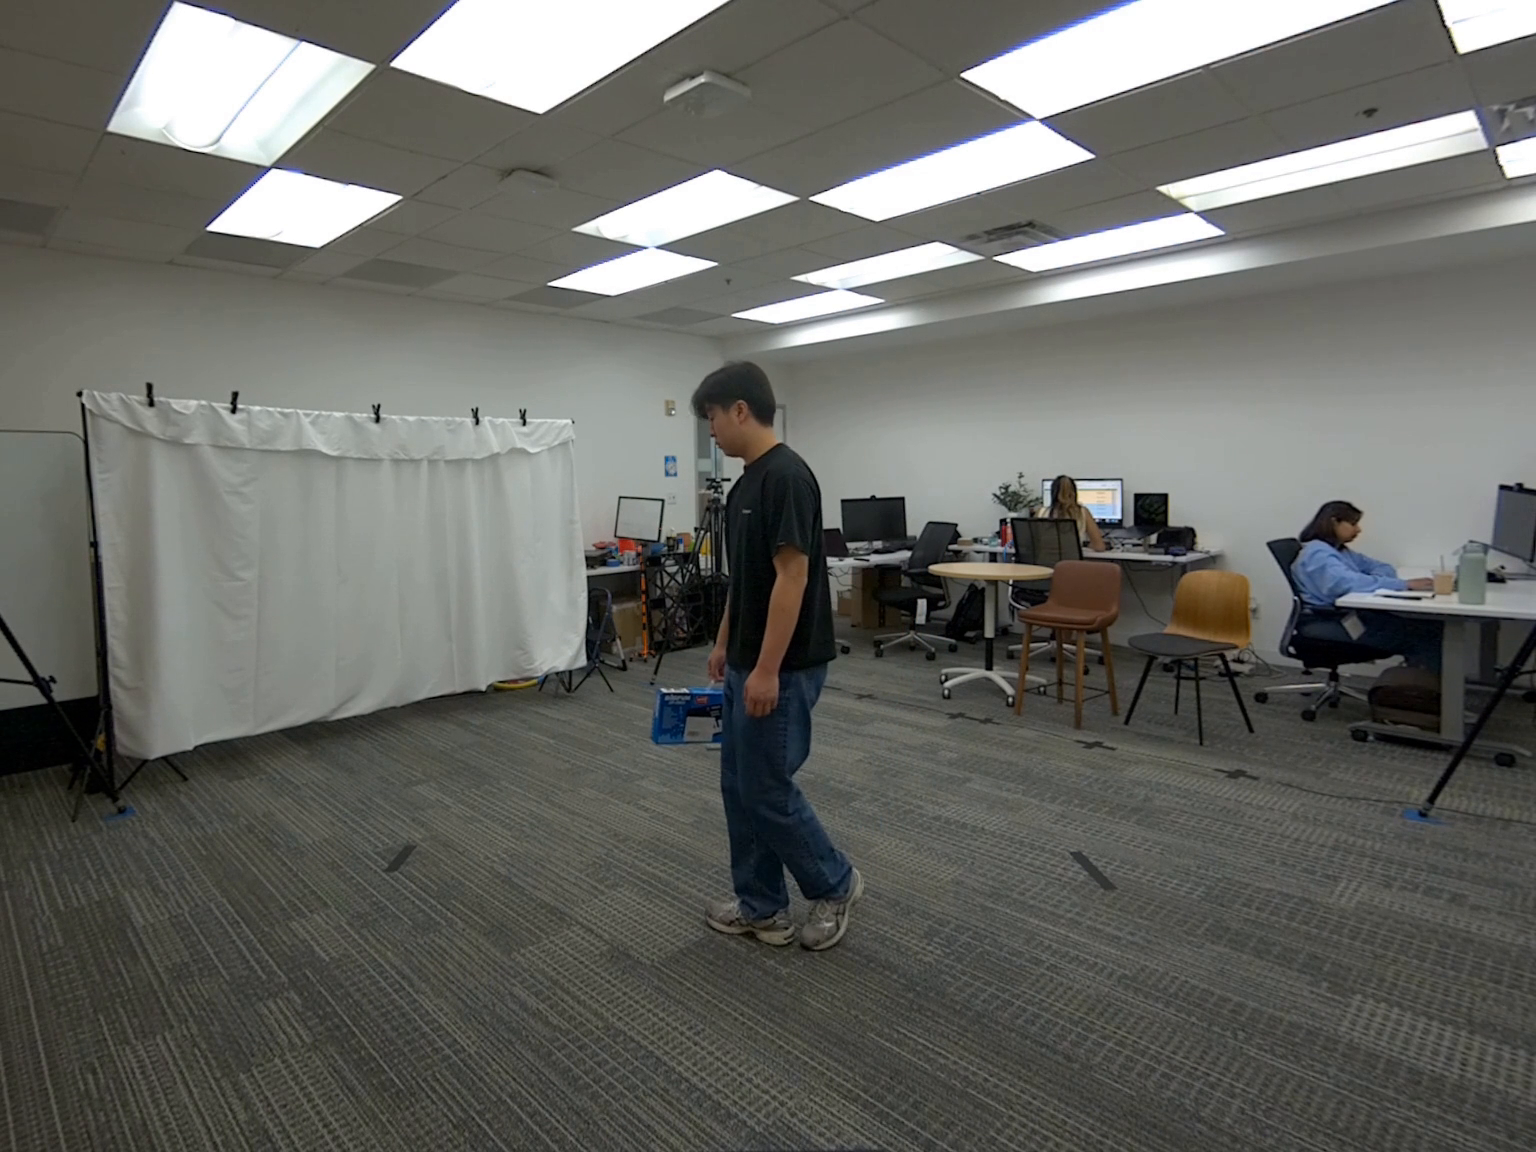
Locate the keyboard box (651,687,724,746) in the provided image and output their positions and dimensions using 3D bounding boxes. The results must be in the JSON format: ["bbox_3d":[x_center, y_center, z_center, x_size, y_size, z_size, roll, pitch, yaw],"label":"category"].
[{"bbox_3d":[-0.162,0.464,2.844,0.427,0.175,0.060,4,5,-24],"label":"keyboard box"}]
